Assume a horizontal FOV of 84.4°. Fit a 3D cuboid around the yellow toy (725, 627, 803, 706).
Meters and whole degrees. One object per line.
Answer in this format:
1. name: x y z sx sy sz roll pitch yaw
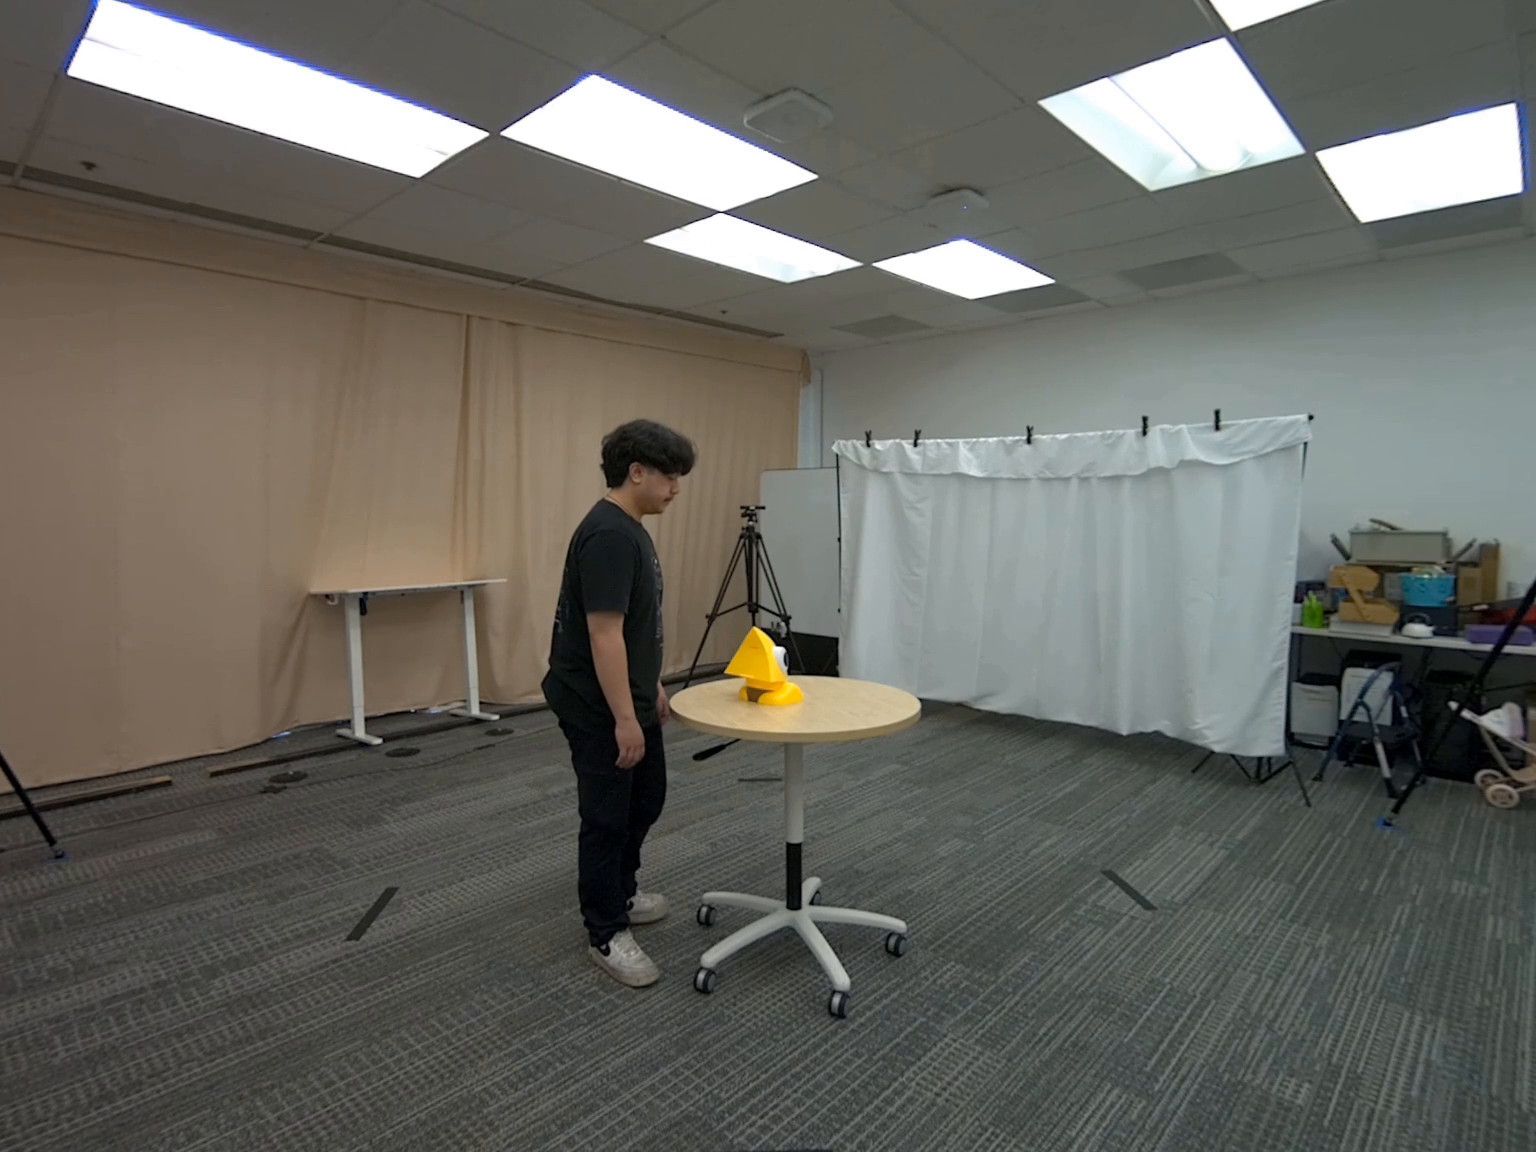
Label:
1. yellow toy: 0.003 0.269 2.611 0.187 0.230 0.211 -3 4 -45
